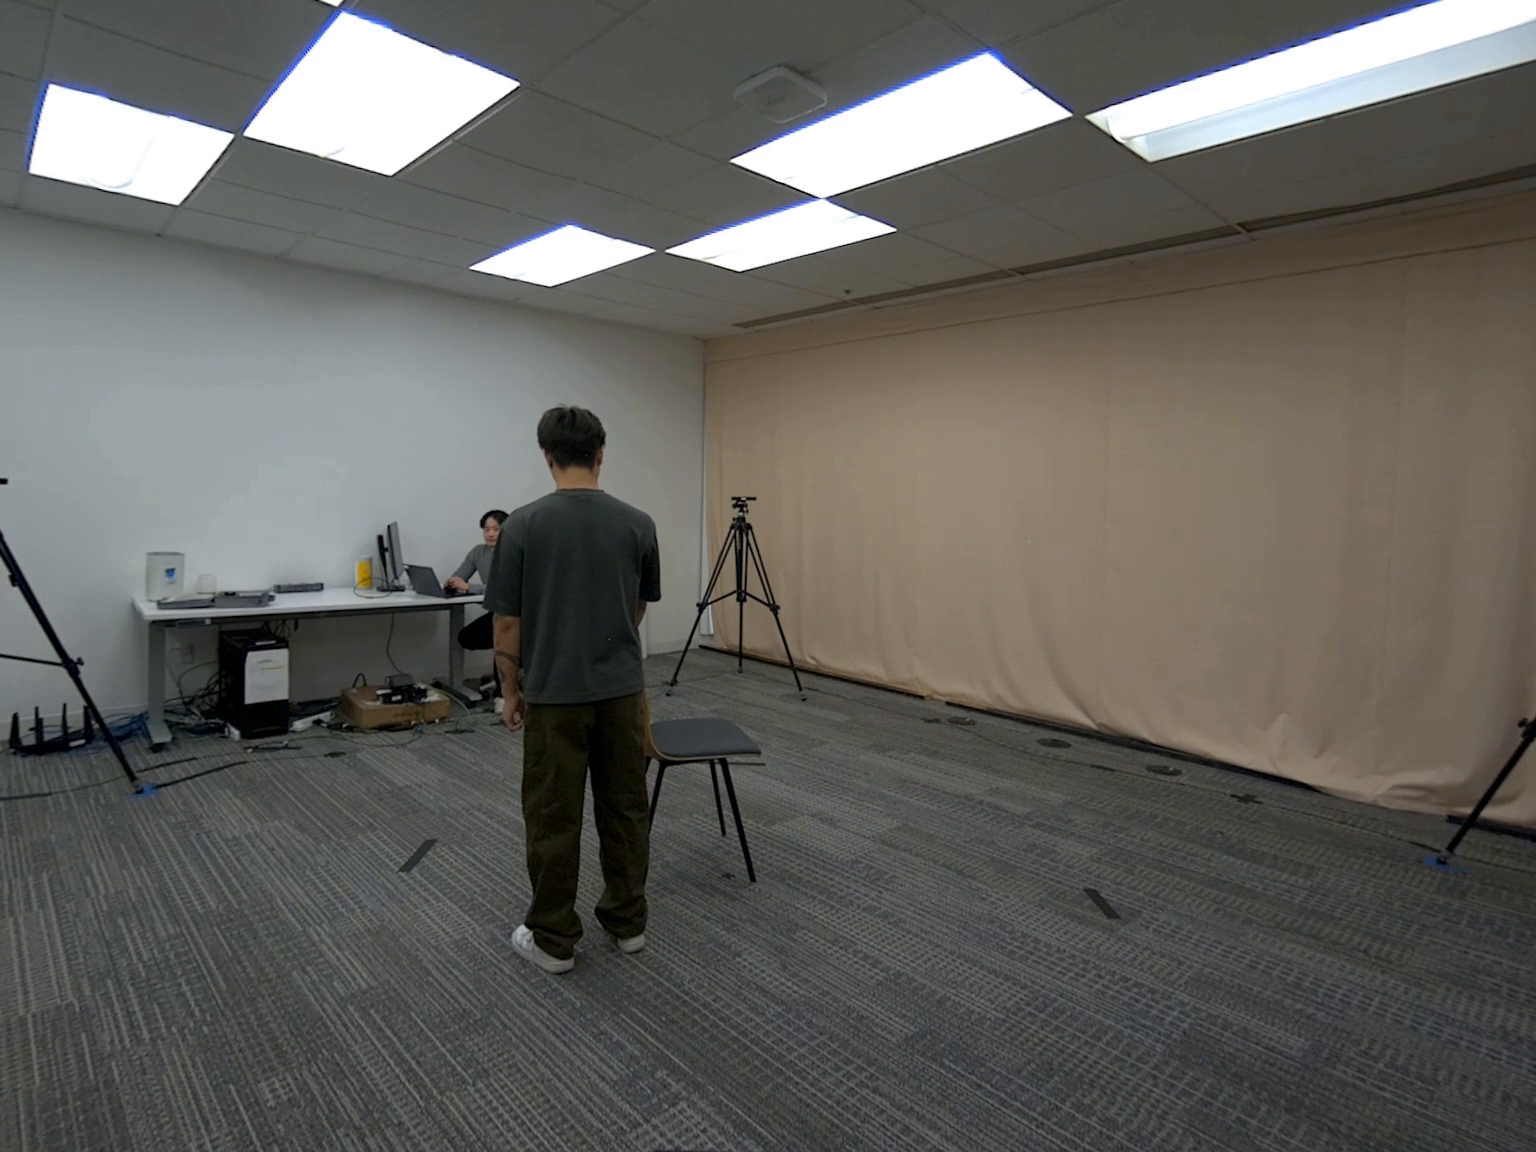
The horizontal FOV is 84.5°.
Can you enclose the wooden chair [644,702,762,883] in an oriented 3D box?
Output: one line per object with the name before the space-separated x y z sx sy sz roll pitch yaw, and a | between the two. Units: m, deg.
wooden chair | -0.314 0.669 3.185 0.517 0.875 0.485 -4 4 -16
